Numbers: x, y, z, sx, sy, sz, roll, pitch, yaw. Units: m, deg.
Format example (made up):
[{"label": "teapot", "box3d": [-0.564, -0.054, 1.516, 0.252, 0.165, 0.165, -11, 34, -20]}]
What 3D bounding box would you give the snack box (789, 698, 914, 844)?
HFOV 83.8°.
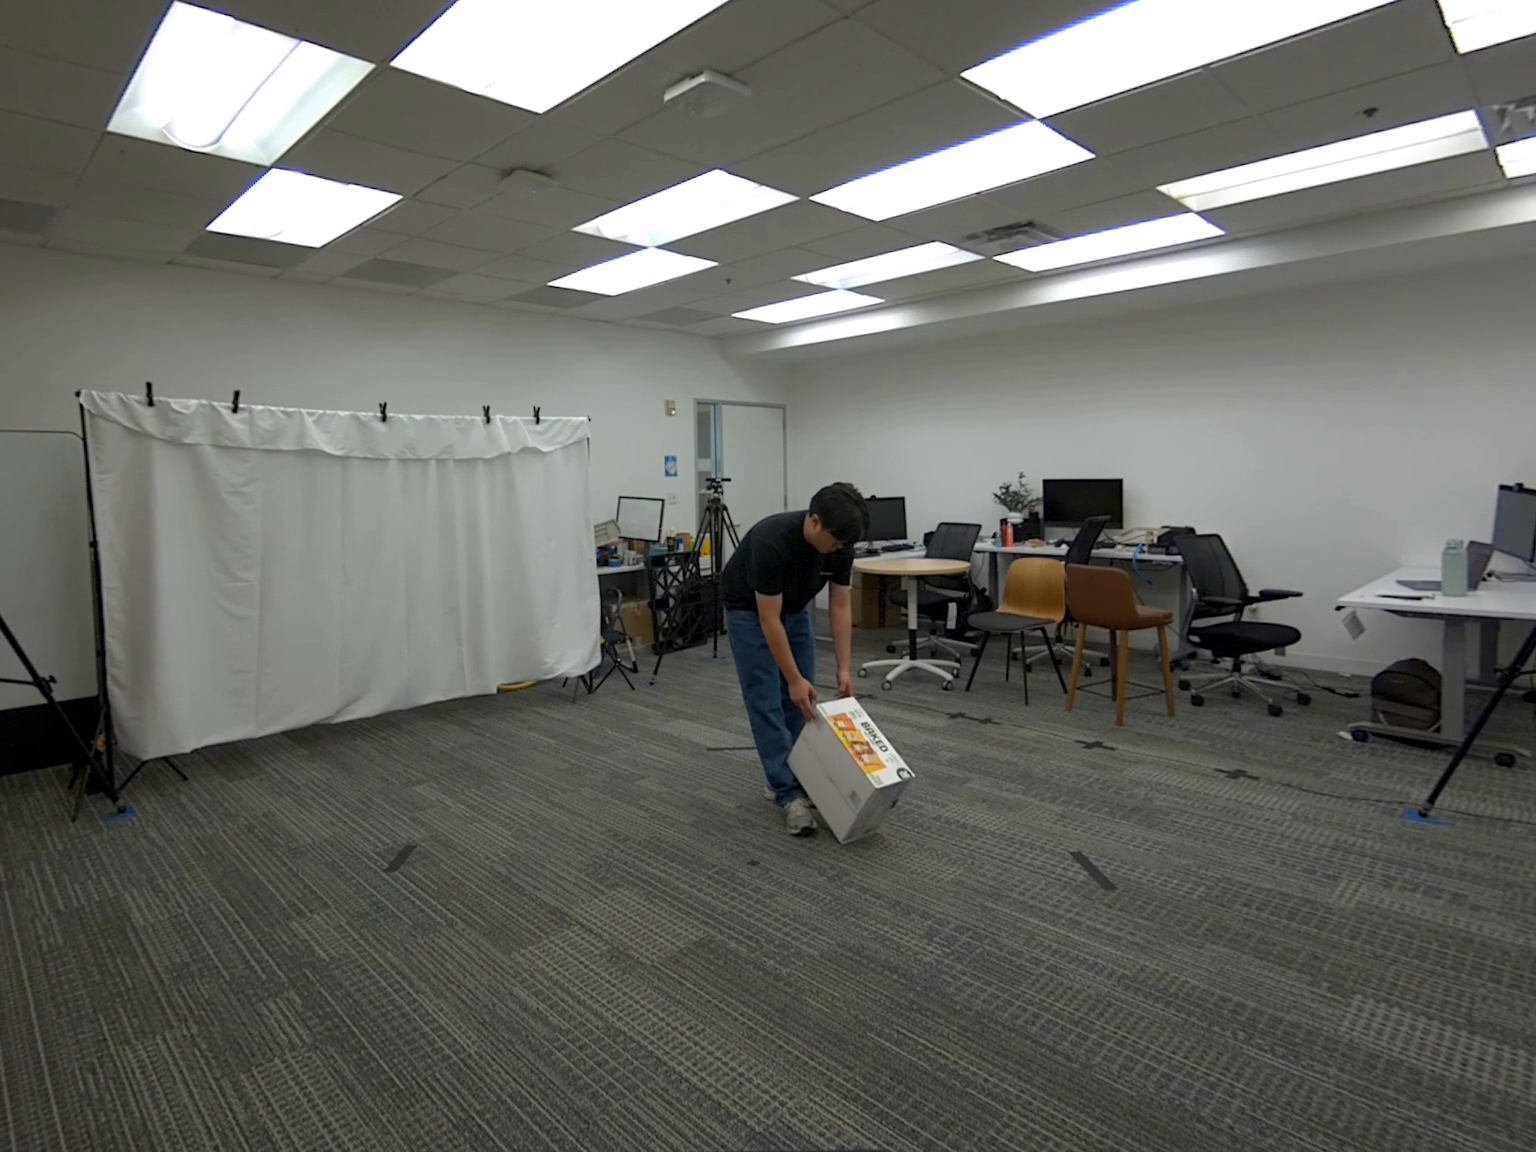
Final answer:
[{"label": "snack box", "box3d": [0.318, 0.756, 3.338, 0.200, 0.336, 0.421, -4, 41, -36]}]
